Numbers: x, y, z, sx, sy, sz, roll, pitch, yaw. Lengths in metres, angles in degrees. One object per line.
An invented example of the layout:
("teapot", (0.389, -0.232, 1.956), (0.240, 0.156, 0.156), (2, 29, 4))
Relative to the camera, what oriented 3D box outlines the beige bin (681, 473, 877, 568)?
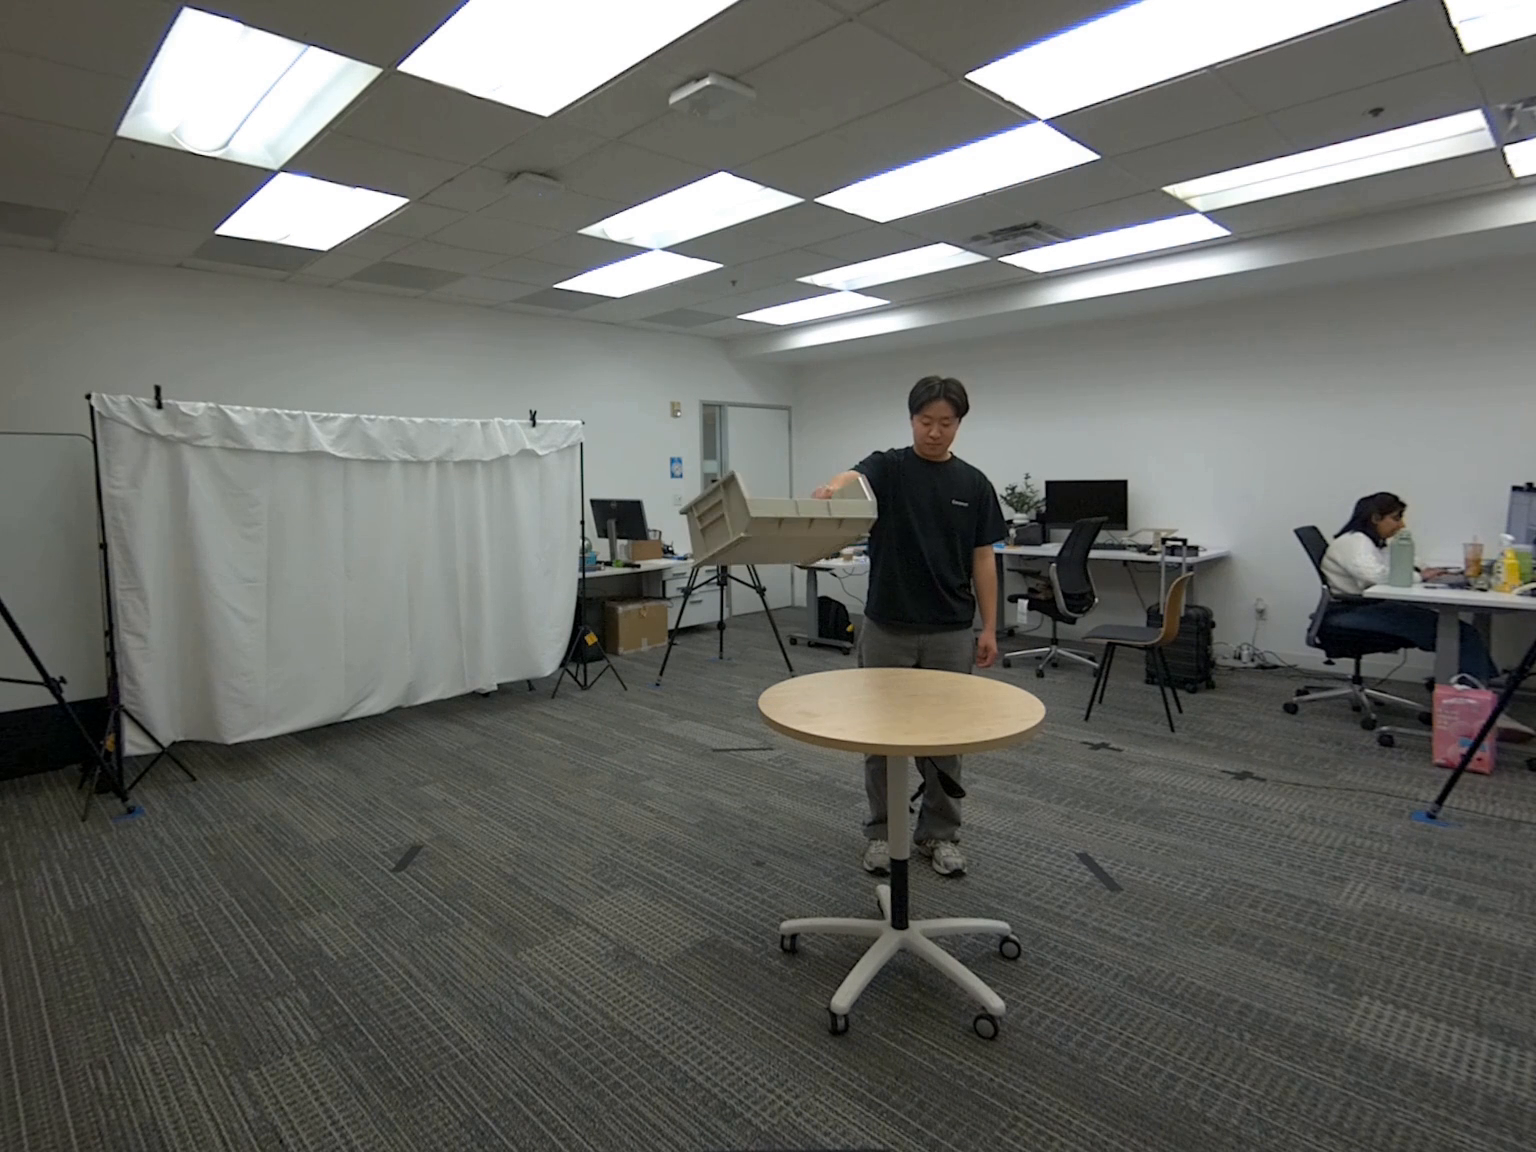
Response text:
("beige bin", (0.027, -0.151, 2.417), (0.412, 0.192, 0.381), (-2, -14, -29))
